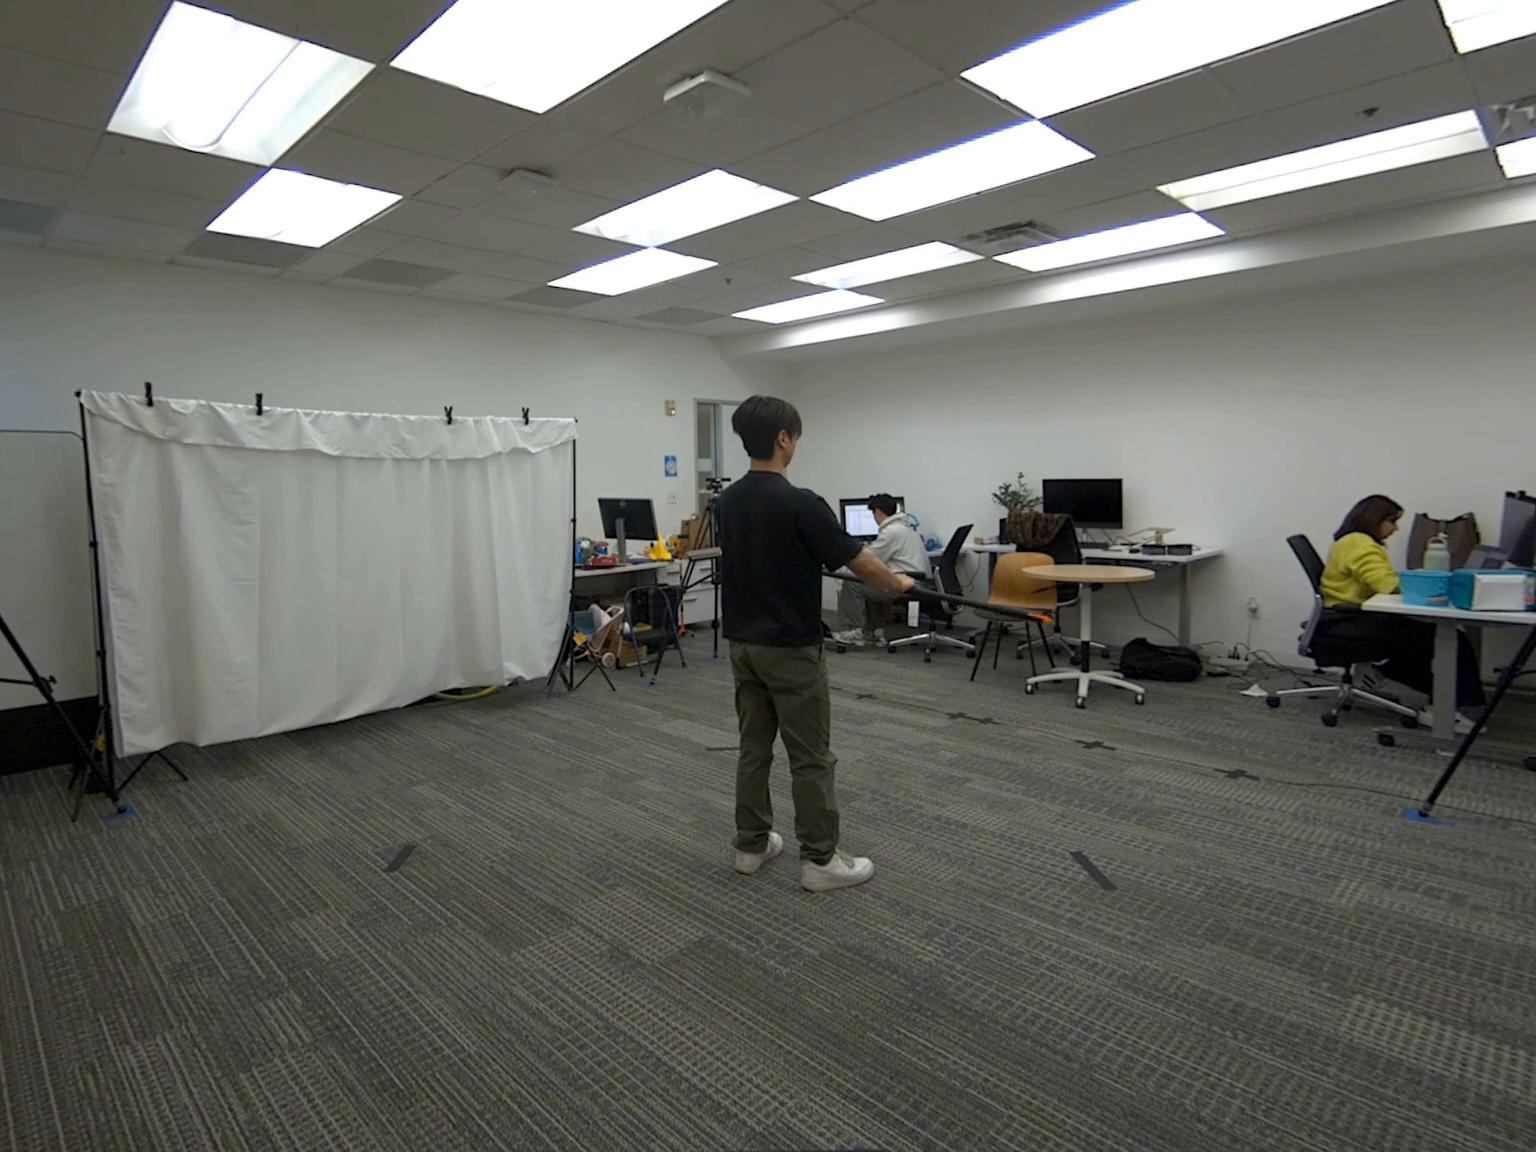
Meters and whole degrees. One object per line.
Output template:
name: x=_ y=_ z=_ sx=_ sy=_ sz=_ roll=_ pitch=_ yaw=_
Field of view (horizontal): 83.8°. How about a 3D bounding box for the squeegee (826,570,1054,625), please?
squeegee: x=0.334 y=0.023 z=3.219 sx=0.427 sy=0.052 sz=1.591 roll=-8 pitch=15 yaw=-39
